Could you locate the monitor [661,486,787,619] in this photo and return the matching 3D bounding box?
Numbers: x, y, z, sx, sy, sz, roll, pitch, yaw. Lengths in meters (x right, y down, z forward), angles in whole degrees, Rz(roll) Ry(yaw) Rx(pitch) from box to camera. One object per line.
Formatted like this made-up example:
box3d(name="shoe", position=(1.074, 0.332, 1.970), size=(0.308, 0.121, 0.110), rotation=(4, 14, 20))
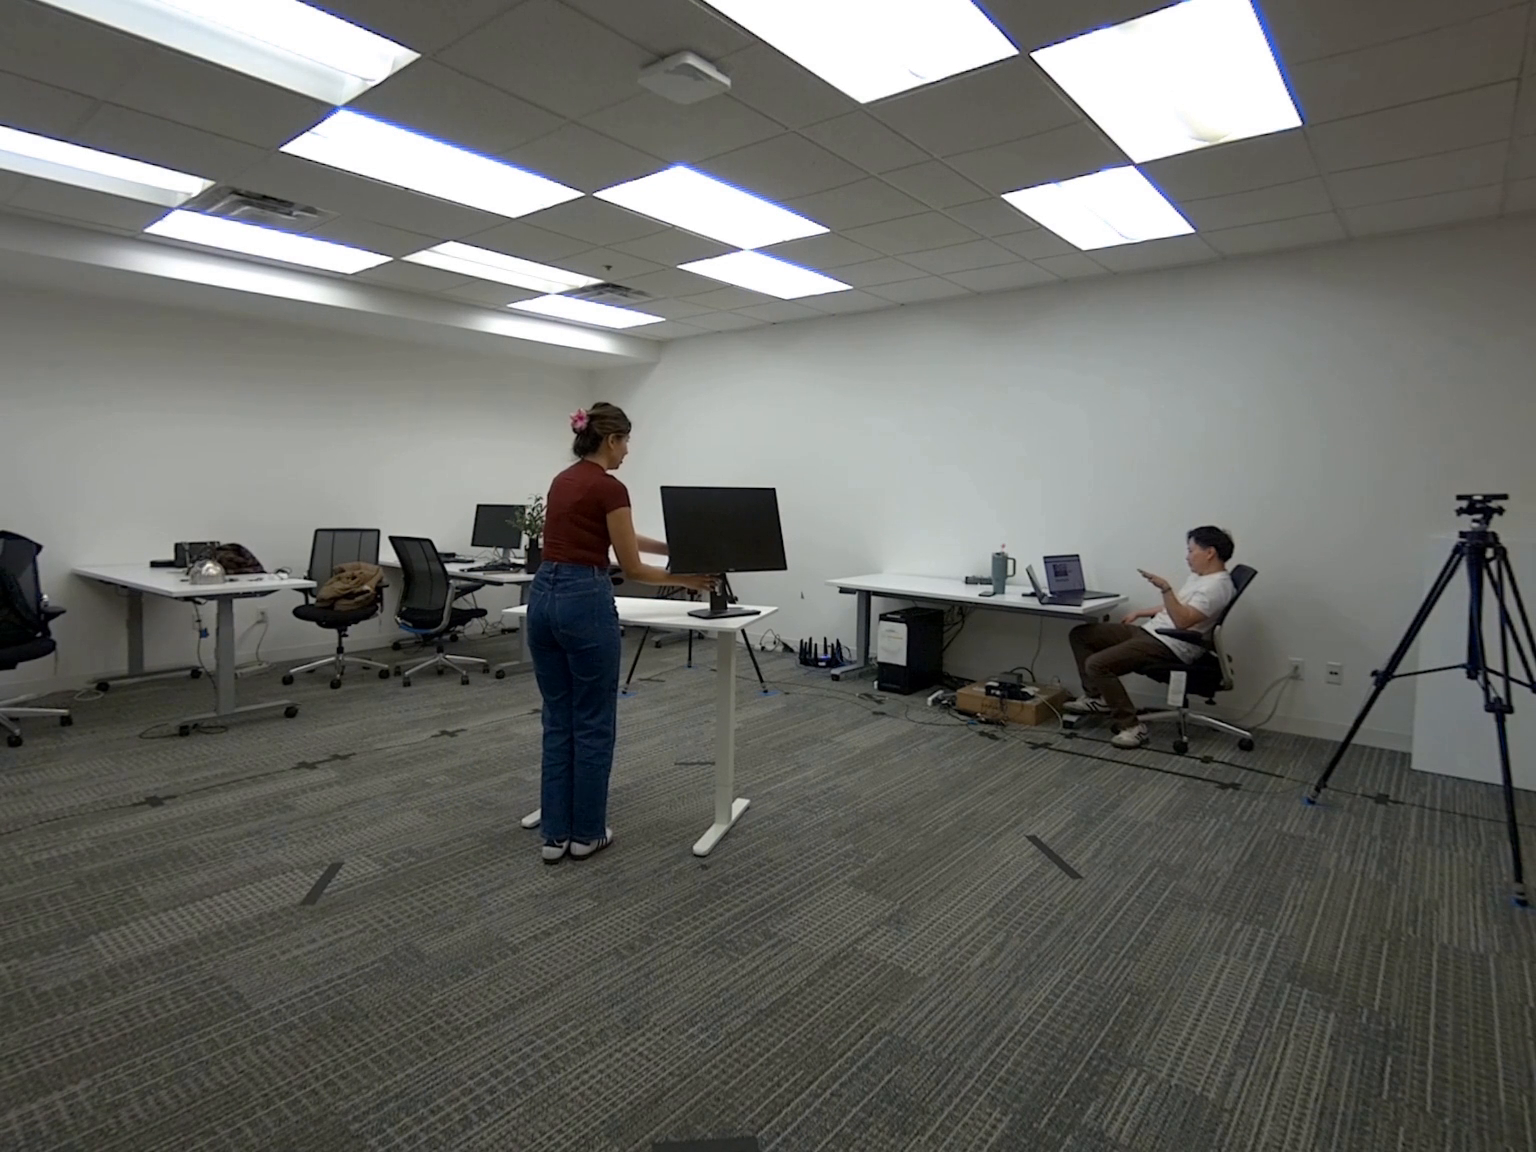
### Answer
box3d(name="monitor", position=(-0.195, -0.099, 3.423), size=(0.524, 0.522, 0.192), rotation=(-2, 1, -32))
